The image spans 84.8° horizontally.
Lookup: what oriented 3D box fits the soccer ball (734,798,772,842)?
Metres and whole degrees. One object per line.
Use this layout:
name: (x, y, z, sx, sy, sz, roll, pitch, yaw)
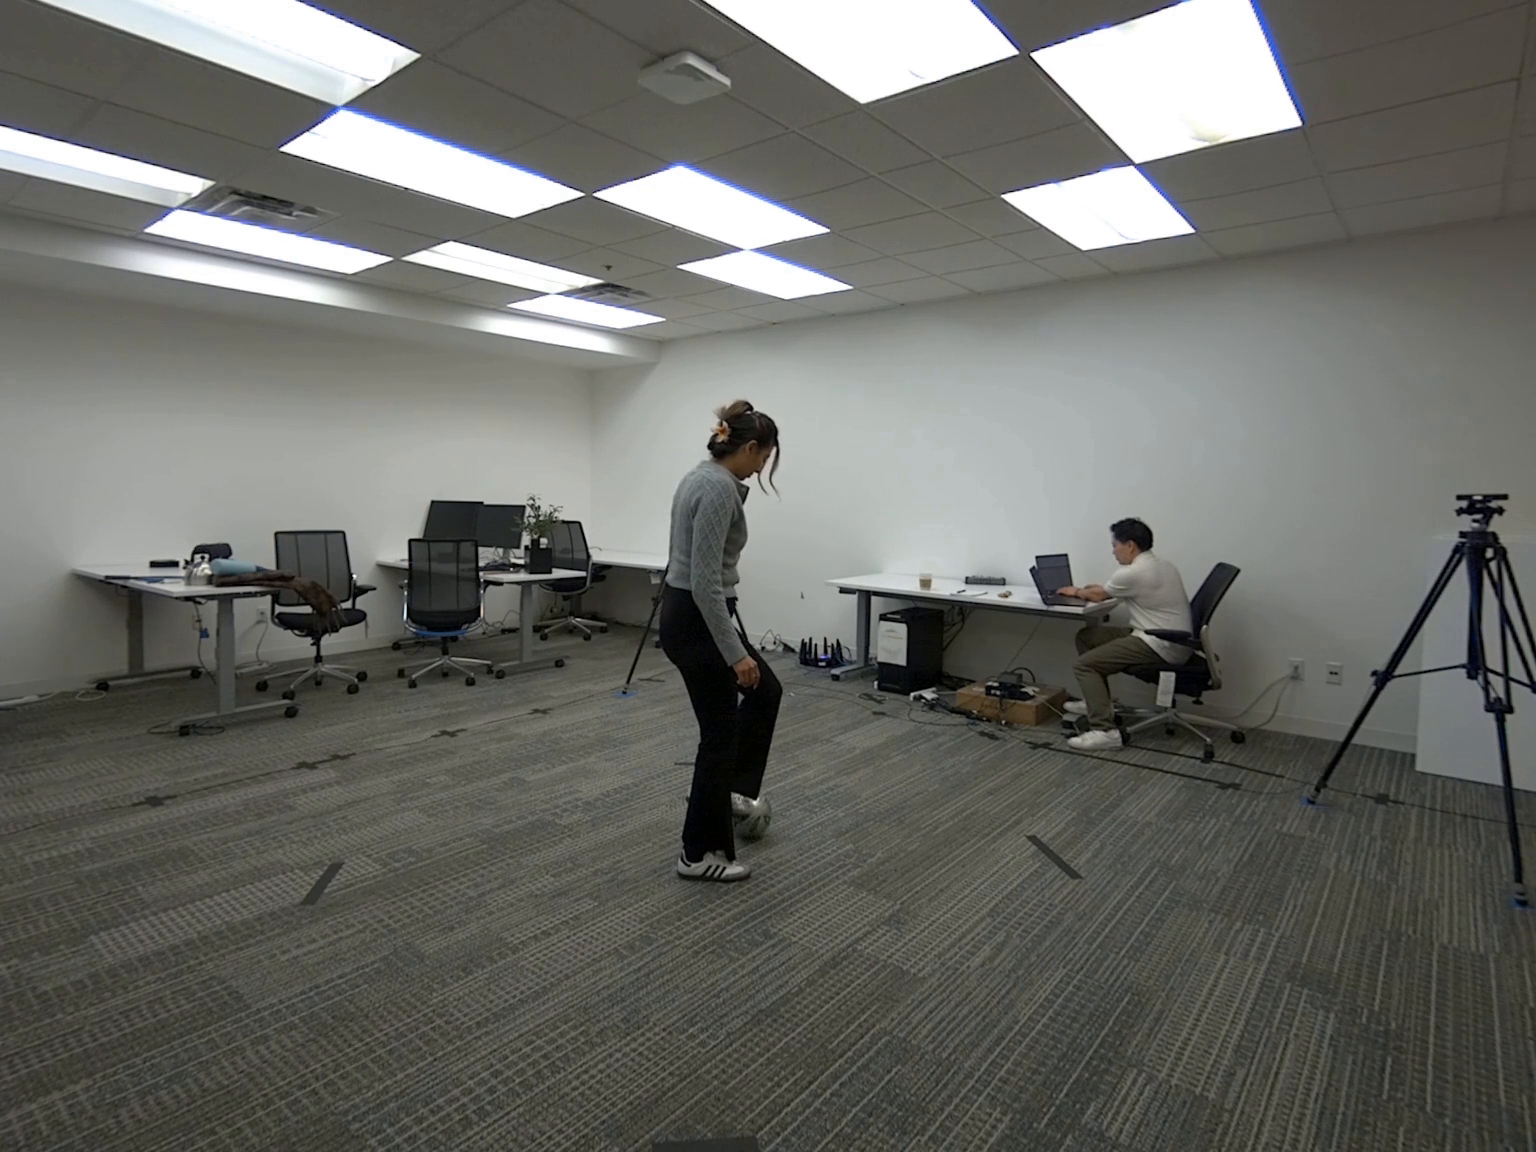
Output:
soccer ball: (-0.087, 0.944, 3.395, 0.187, 0.187, 0.188, 1, 4, -2)
